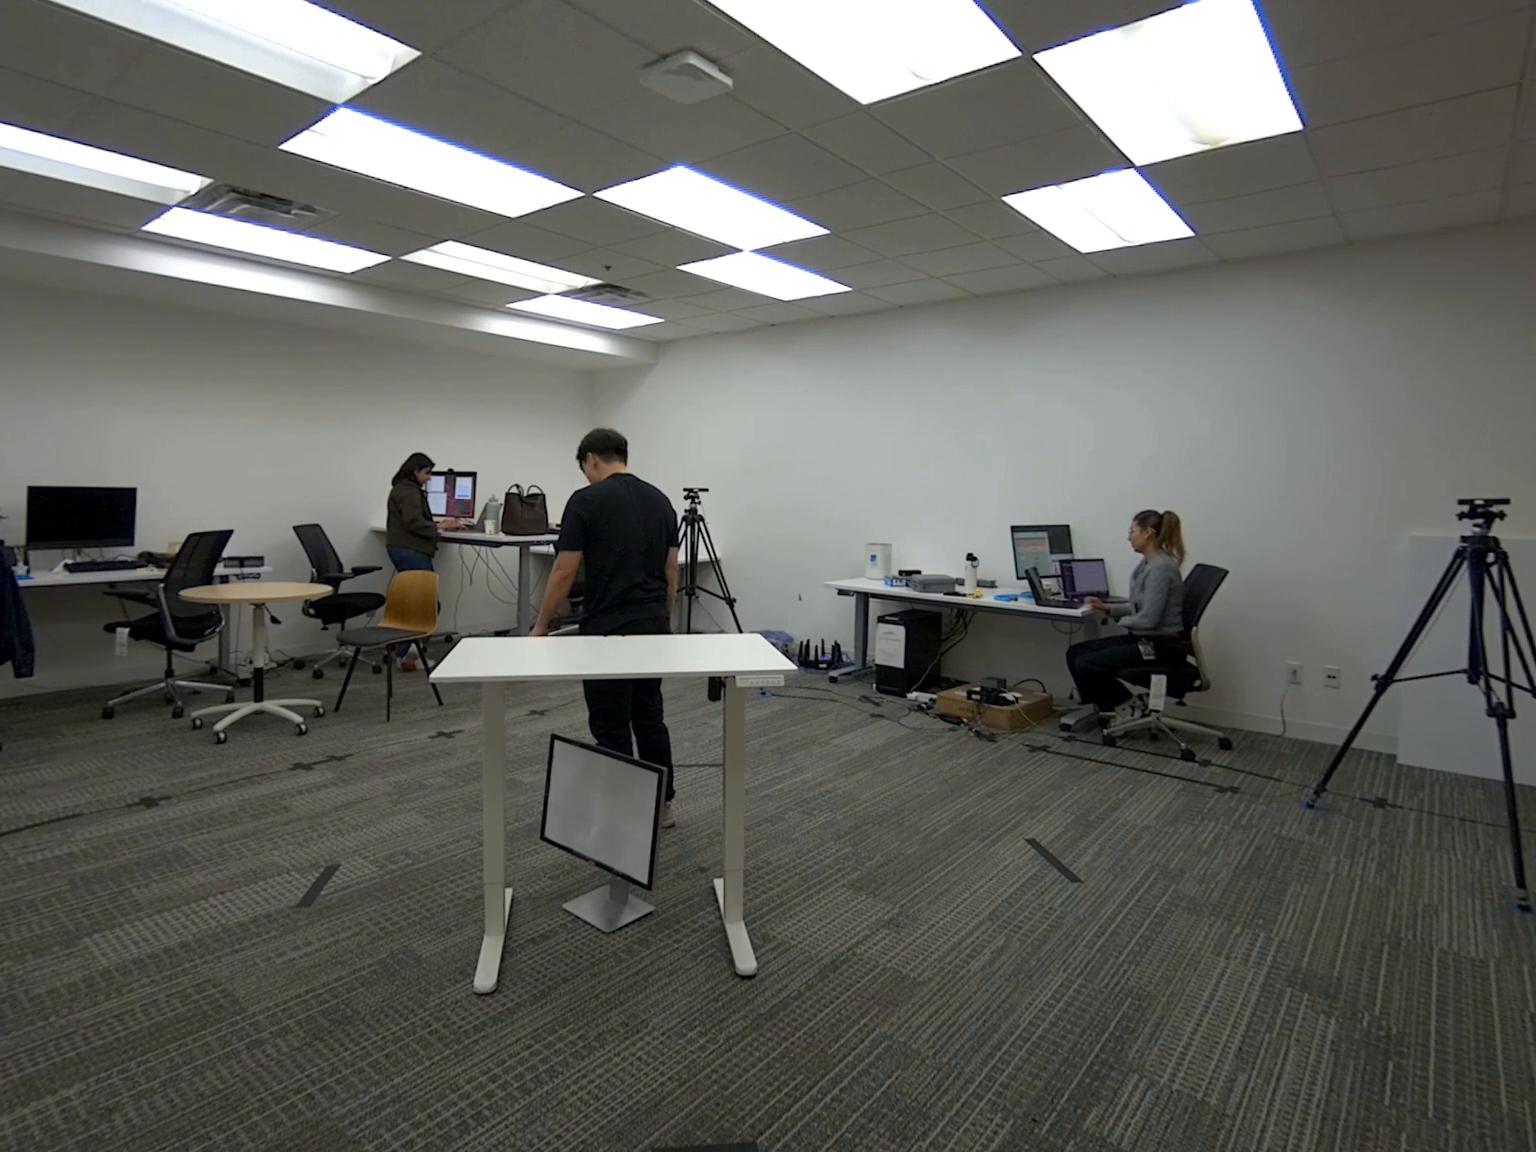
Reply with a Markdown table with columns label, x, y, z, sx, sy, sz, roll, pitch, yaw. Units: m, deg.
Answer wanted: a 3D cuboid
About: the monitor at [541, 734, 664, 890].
| label | x | y | z | sx | sy | sz | roll | pitch | yaw |
| --- | --- | --- | --- | --- | --- | --- | --- | --- | --- |
| monitor | -0.533 | 0.831 | 2.779 | 0.556 | 0.520 | 0.182 | 2 | 7 | 40 |
